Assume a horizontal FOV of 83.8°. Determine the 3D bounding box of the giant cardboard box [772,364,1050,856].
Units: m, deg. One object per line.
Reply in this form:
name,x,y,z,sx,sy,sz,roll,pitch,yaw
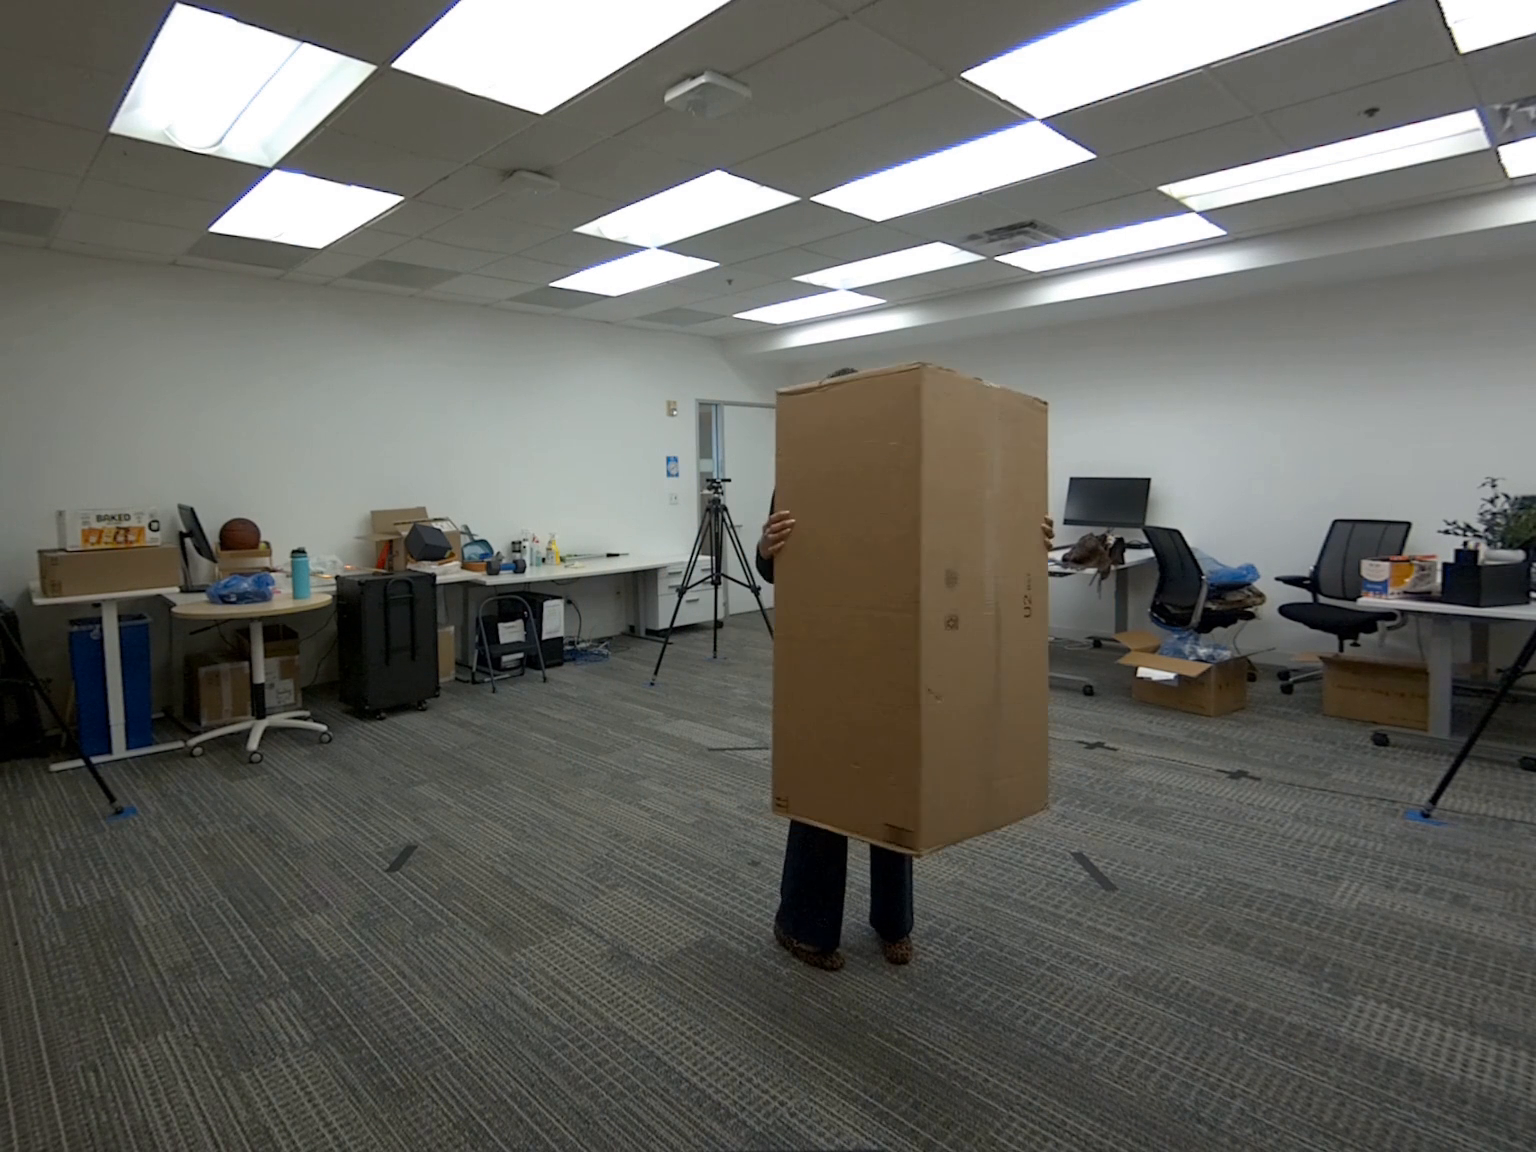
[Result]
giant cardboard box,0.362,0.066,2.105,0.560,1.028,0.438,2,-3,-44
